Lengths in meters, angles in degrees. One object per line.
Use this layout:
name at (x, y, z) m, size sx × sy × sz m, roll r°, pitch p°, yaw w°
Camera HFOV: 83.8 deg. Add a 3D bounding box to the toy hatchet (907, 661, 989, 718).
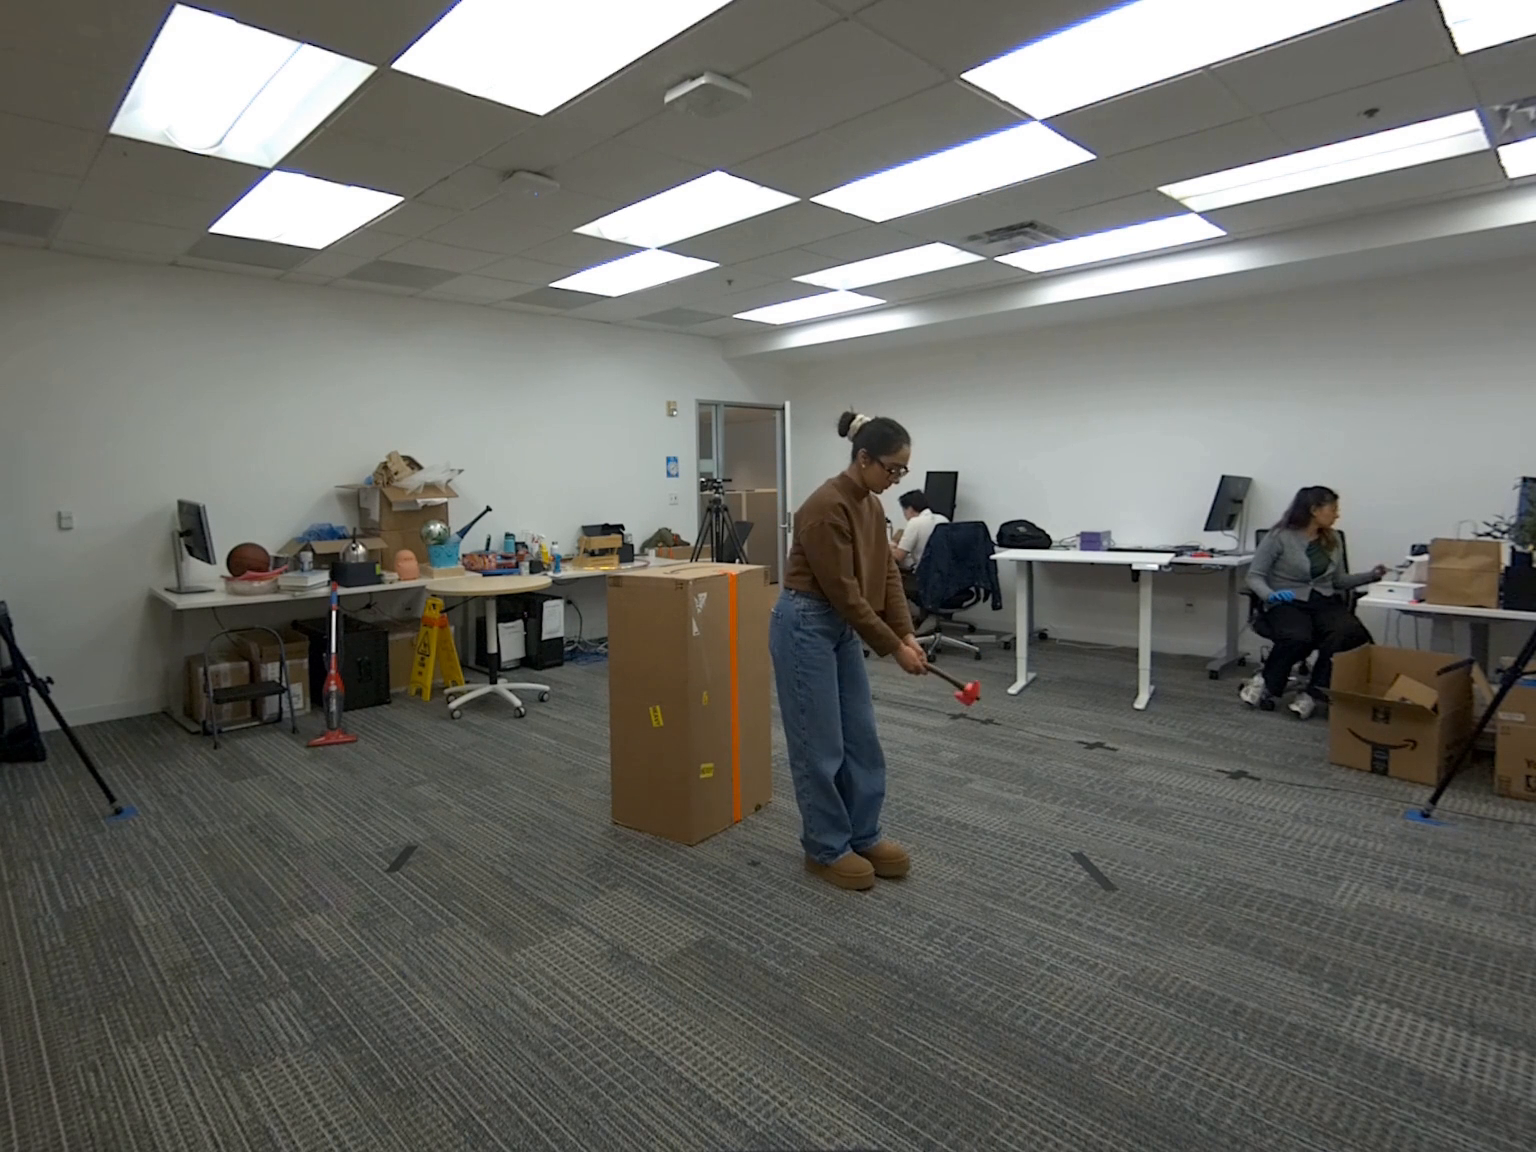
toy hatchet at (0.571, 0.352, 2.755) m, size 0.280 × 0.127 × 0.029 m, roll 17°, pitch 44°, yaw 44°
